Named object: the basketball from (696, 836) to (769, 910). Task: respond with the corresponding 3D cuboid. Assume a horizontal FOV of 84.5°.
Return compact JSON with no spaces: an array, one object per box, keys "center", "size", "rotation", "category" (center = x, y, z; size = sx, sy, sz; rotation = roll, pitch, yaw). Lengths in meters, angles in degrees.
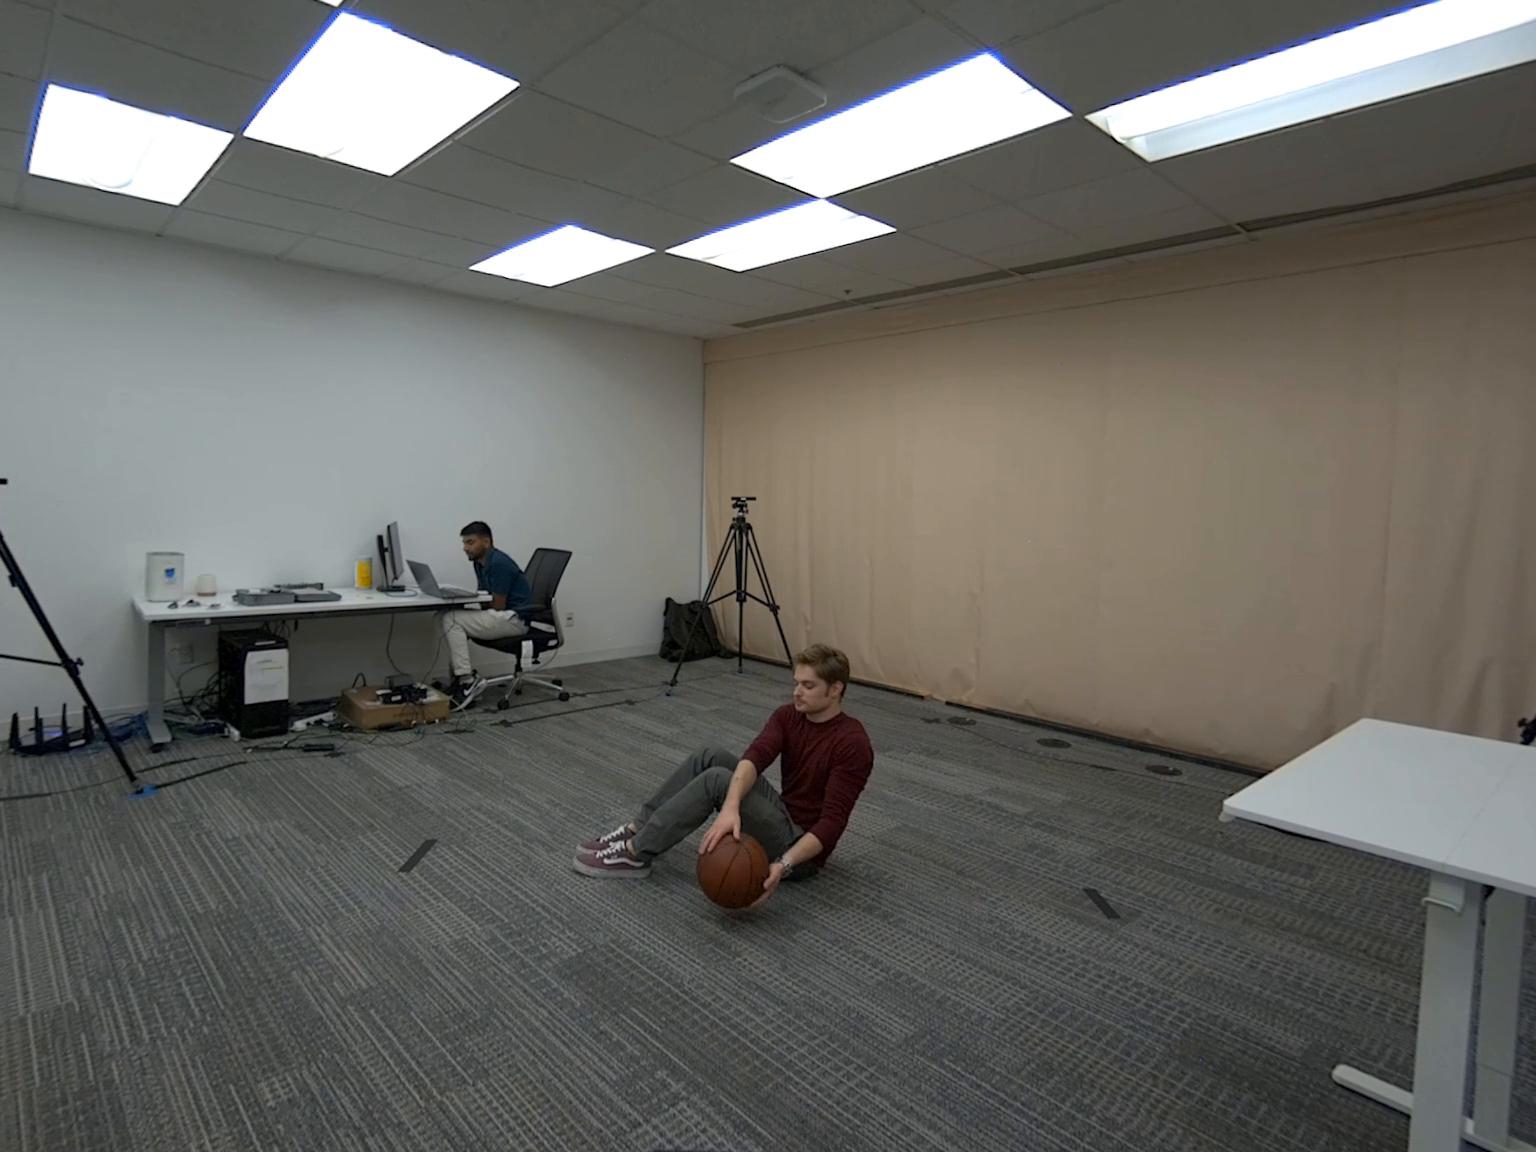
[{"center":[-0.132,0.945,2.771],"size":[0.236,0.235,0.237],"rotation":[1,4,-1],"category":"basketball"}]
